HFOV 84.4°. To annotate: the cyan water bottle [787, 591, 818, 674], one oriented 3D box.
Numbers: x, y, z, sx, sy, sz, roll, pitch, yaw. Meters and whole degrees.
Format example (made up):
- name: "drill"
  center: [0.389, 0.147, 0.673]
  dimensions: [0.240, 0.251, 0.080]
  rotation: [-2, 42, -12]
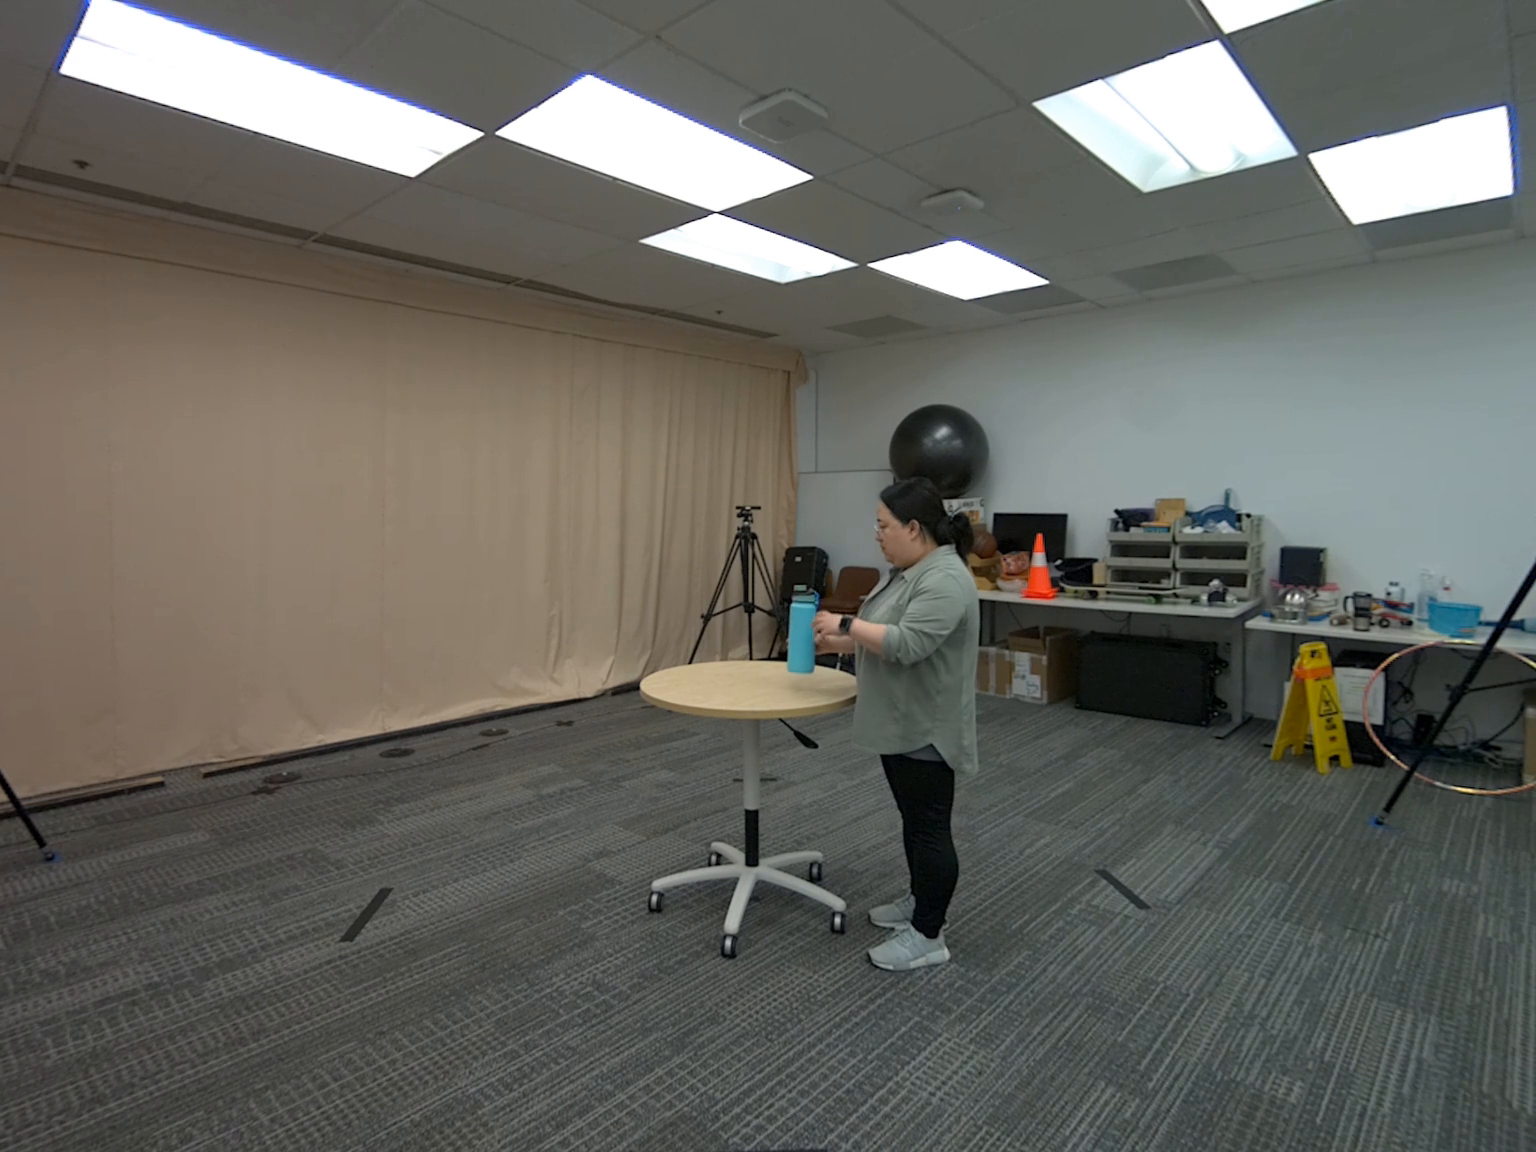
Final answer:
- name: "cyan water bottle"
  center: [0.129, 0.180, 2.773]
  dimensions: [0.092, 0.283, 0.092]
  rotation: [4, 3, -2]
